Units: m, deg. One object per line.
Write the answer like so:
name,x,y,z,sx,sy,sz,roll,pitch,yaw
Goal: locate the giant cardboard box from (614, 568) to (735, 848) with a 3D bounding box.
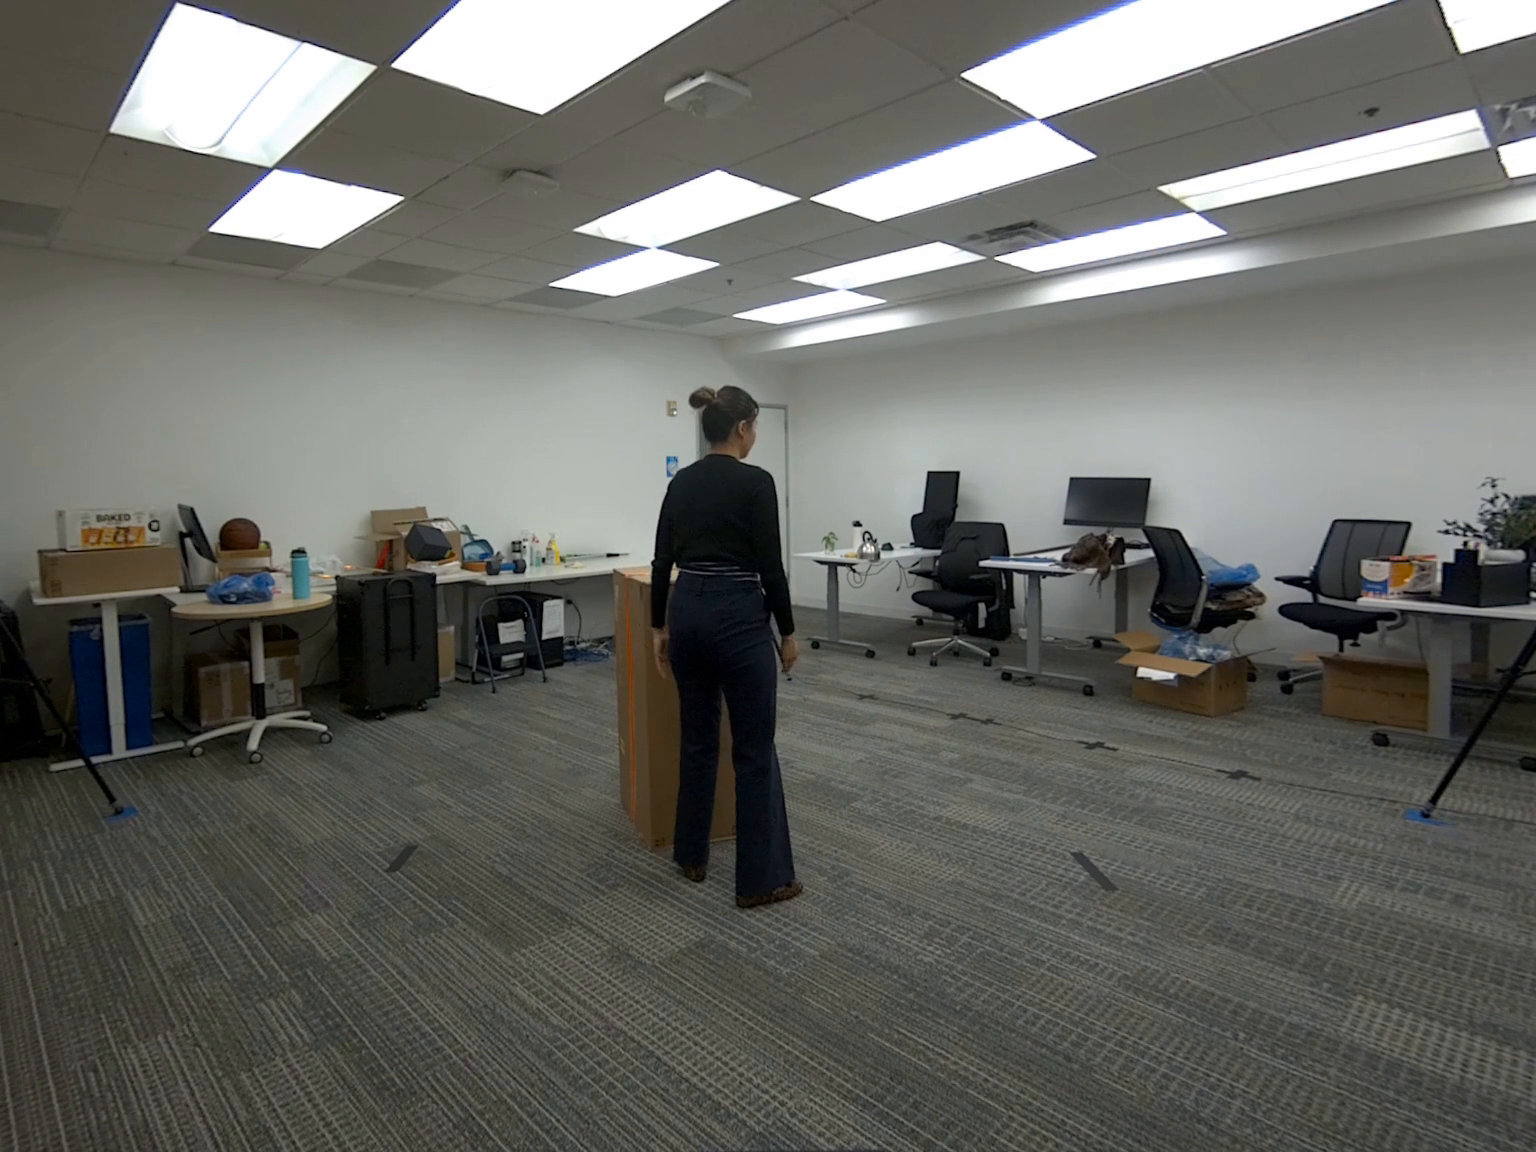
giant cardboard box,-0.364,0.491,3.512,0.419,1.022,0.590,-2,4,-20
